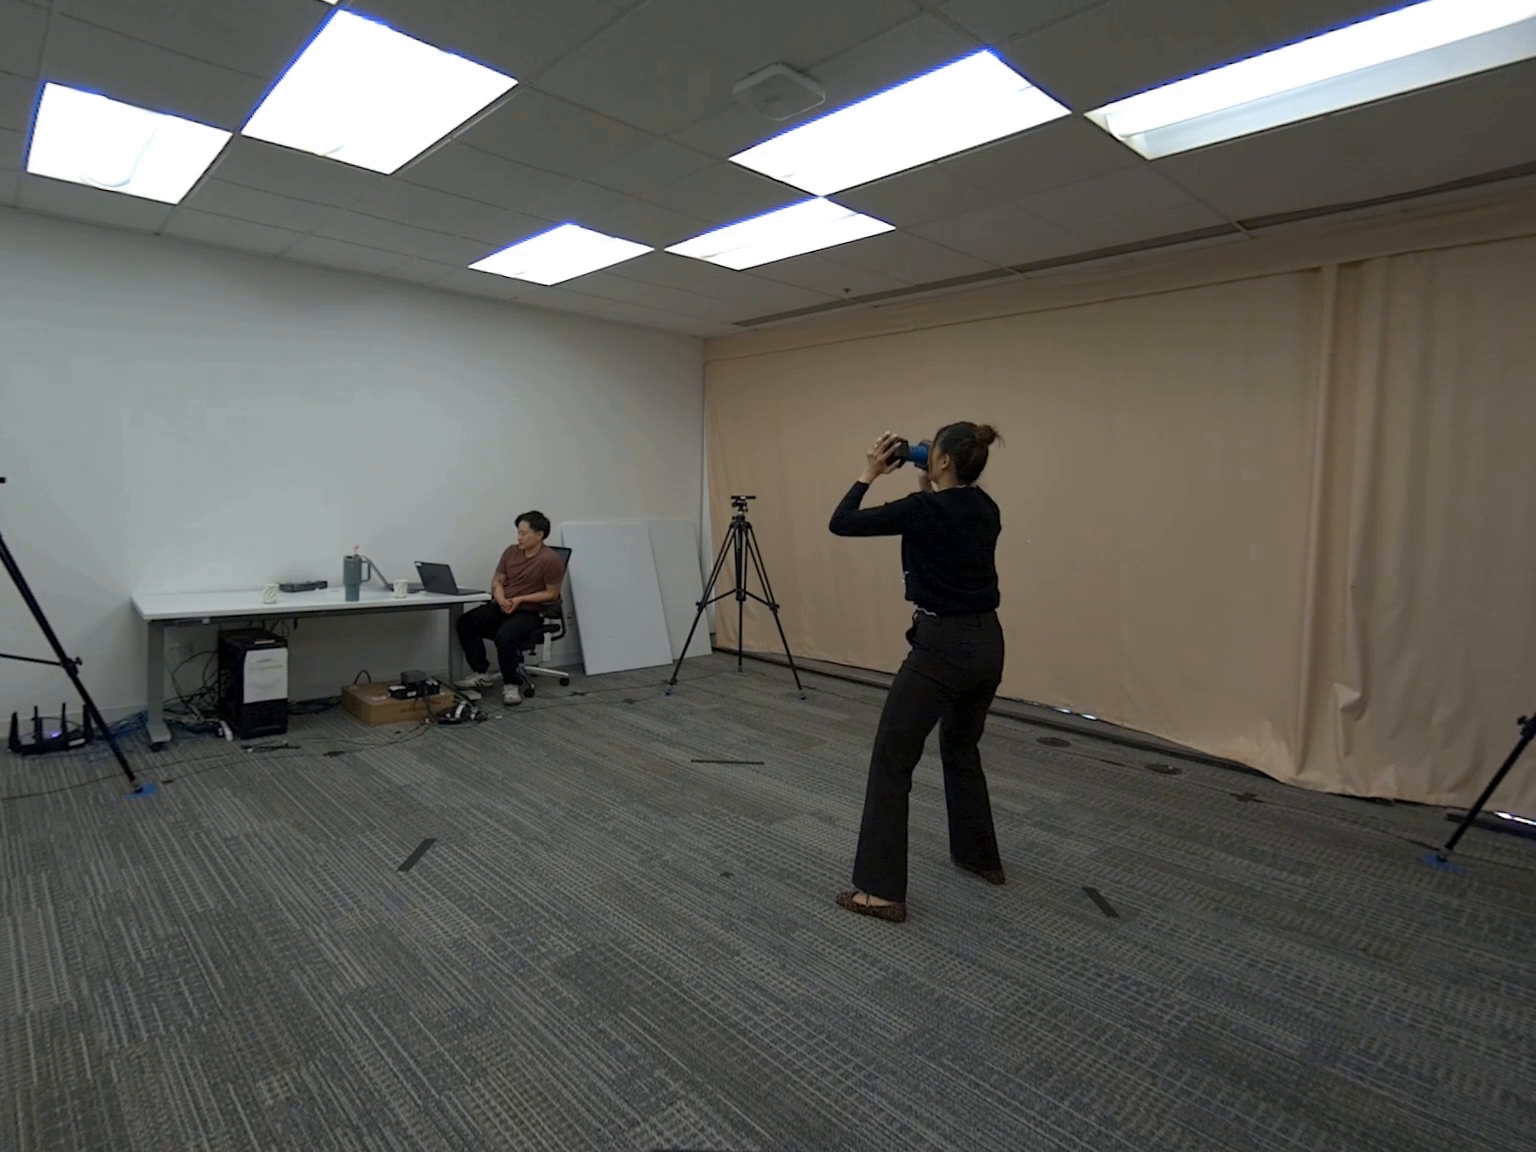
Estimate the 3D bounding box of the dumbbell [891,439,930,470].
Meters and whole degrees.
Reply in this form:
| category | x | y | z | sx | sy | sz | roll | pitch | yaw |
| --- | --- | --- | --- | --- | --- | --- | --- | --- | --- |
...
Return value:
| category | x | y | z | sx | sy | sz | roll | pitch | yaw |
| --- | --- | --- | --- | --- | --- | --- | --- | --- | --- |
| dumbbell | 0.525 | -0.445 | 3.085 | 0.287 | 0.111 | 0.123 | -1 | -35 | -39 |
